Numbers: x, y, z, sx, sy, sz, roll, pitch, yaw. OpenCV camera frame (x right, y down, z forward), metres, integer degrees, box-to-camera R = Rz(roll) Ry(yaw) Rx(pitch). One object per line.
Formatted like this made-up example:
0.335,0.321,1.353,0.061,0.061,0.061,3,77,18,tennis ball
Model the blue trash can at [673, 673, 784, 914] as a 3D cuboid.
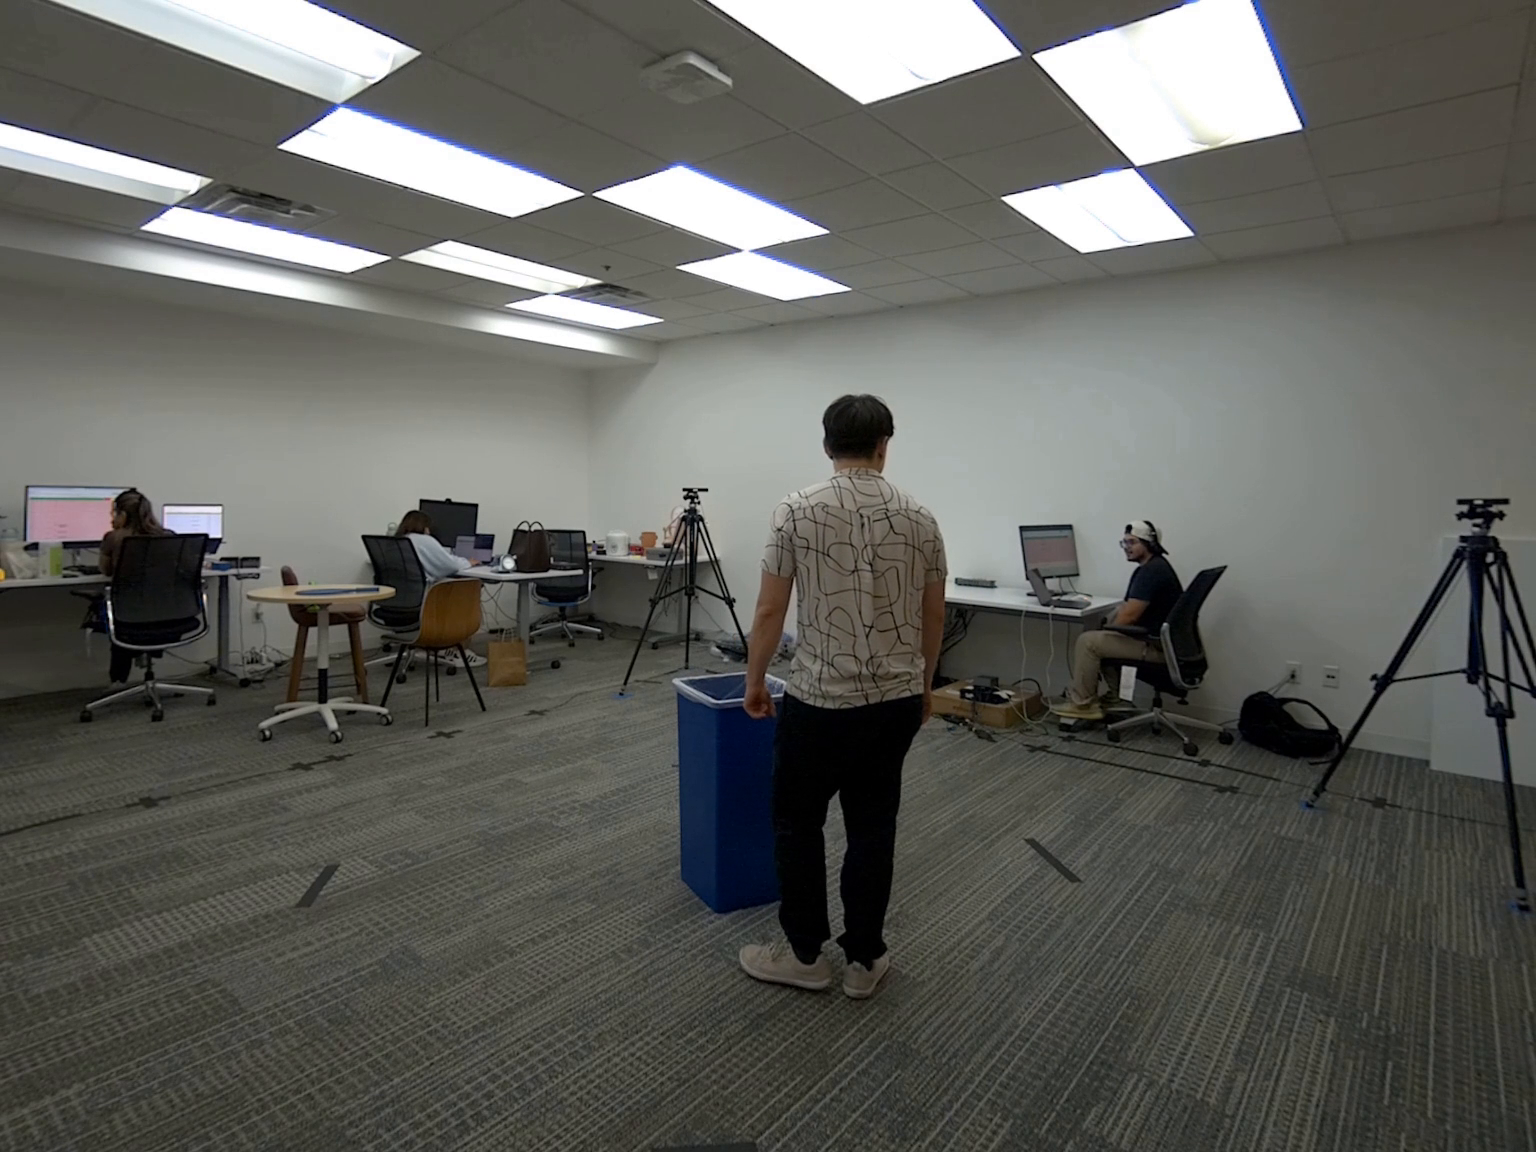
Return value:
-0.122,0.728,2.958,0.368,0.711,0.385,-1,4,-30,blue trash can
